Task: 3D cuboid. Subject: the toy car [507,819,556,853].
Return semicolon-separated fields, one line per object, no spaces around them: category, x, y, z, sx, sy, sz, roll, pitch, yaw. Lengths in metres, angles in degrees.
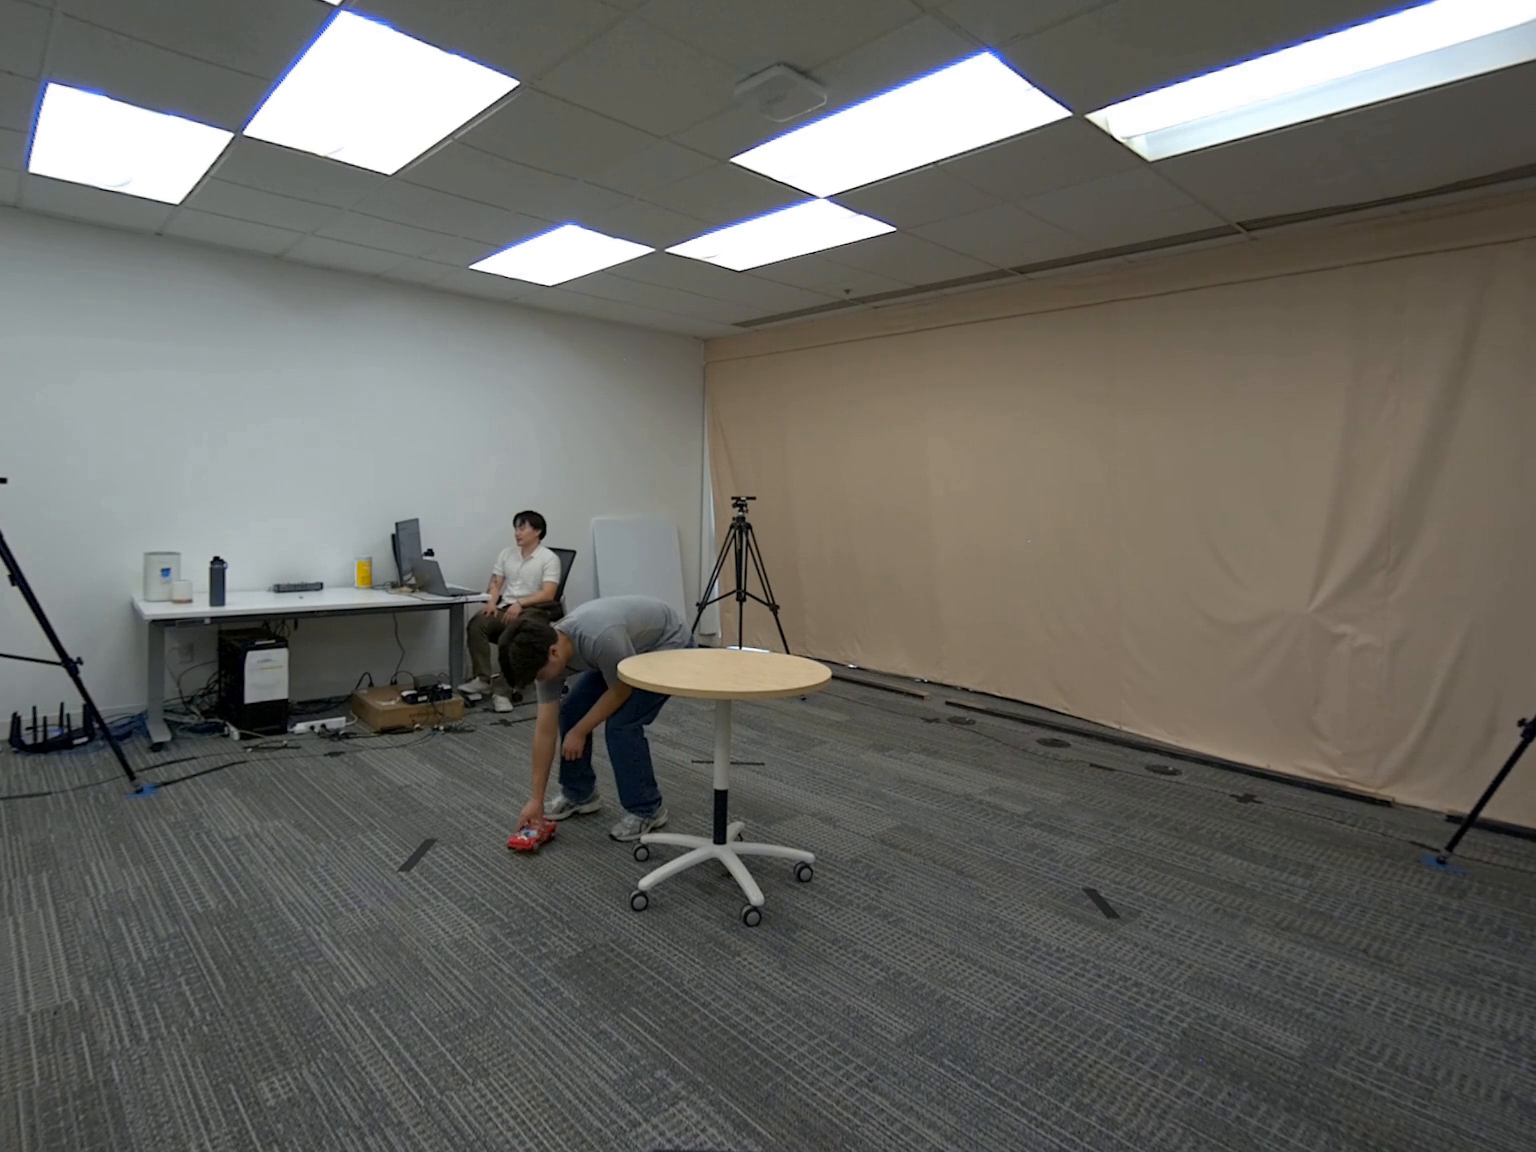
toy car;-0.941;1.034;3.351;0.132;0.082;0.254;2;13;13
